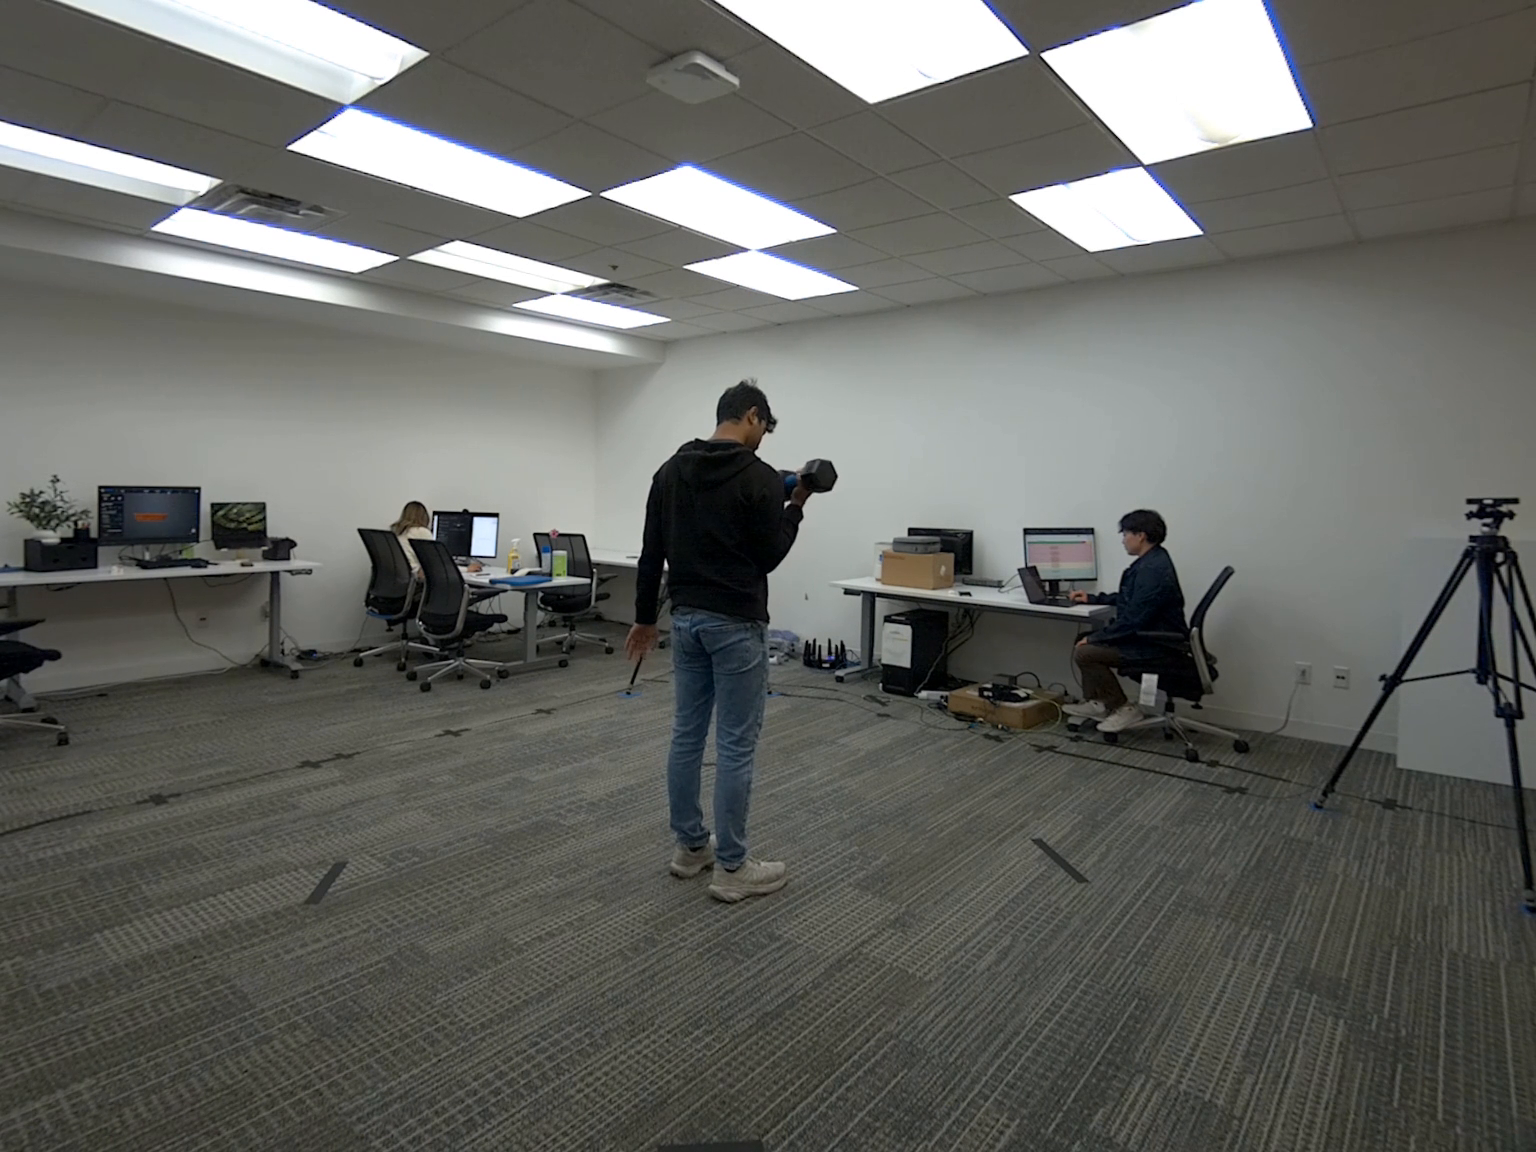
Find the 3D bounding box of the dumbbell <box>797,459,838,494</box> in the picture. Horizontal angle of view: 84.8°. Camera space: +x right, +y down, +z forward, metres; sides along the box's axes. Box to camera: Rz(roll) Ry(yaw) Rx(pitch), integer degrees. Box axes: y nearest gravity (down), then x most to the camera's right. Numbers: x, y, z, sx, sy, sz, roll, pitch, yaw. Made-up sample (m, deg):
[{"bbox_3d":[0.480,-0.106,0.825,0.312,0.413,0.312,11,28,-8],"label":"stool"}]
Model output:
[{"bbox_3d":[0.114,-0.324,3.036,0.105,0.124,0.301,39,-26,-26],"label":"dumbbell"}]
